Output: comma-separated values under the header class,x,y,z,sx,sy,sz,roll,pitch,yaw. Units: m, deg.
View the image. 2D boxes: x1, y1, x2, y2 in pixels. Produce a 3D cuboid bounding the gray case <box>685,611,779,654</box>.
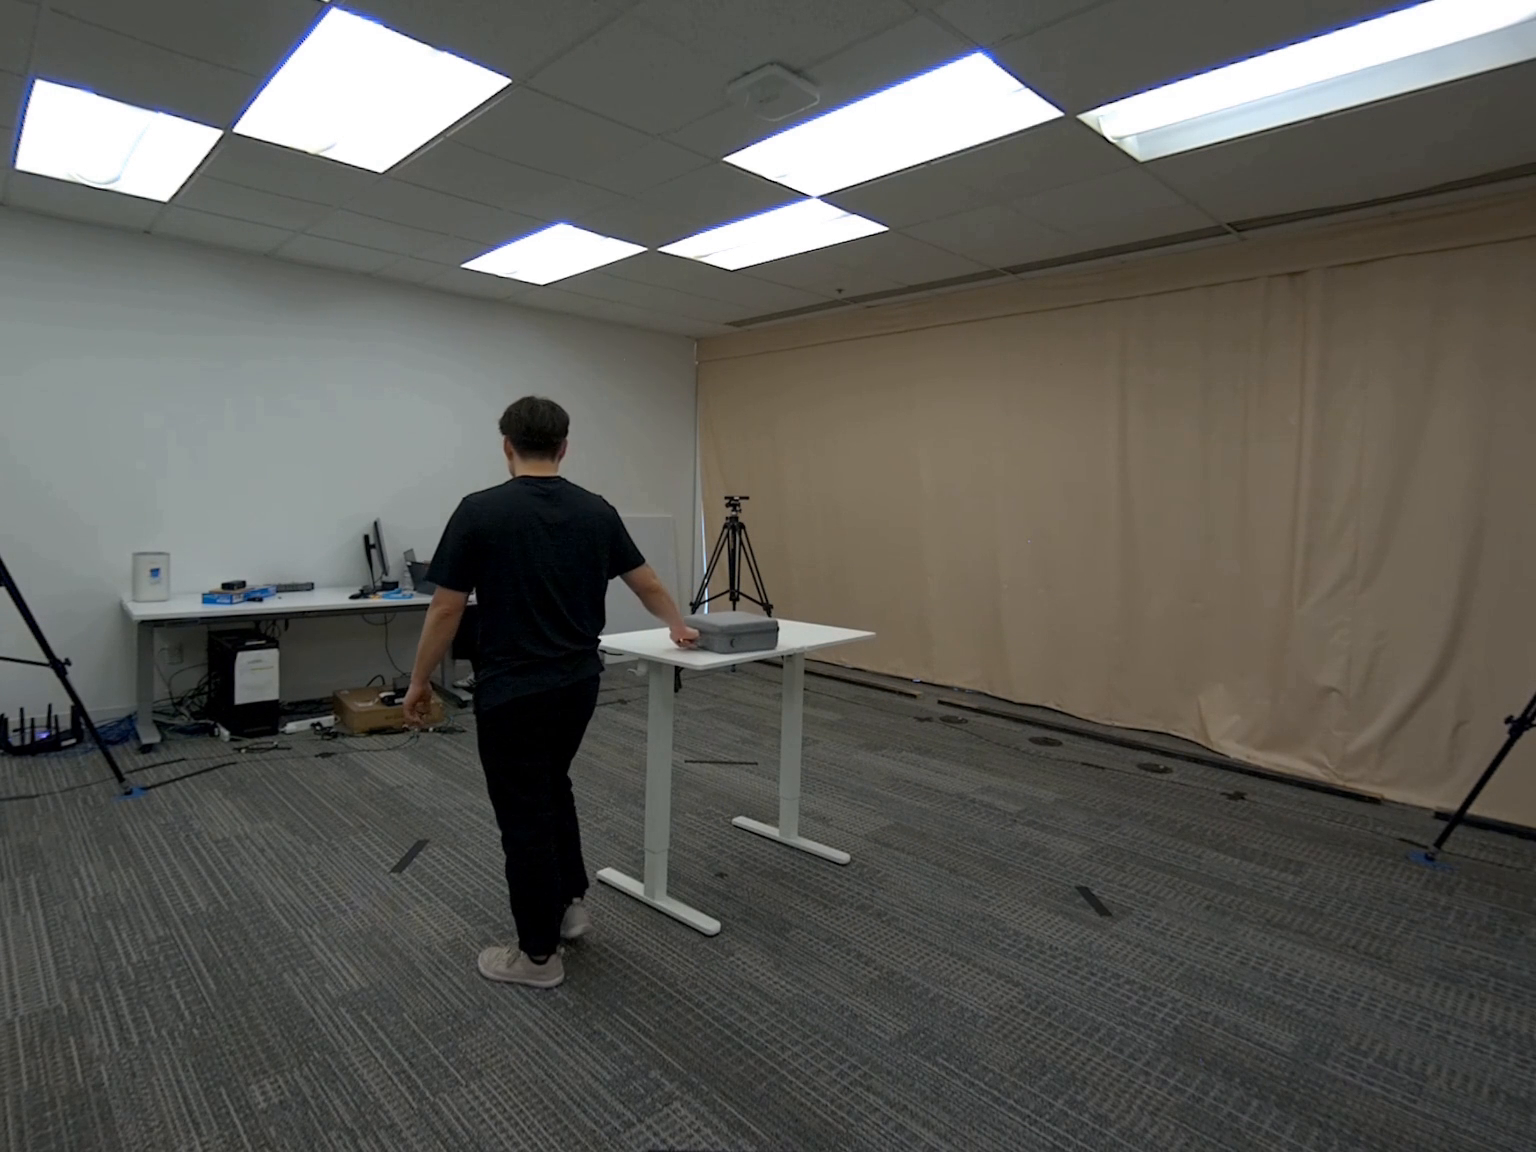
class,x,y,z,sx,sy,sz,roll,pitch,yaw
gray case,-0.133,0.190,2.869,0.255,0.104,0.263,-3,7,-36
